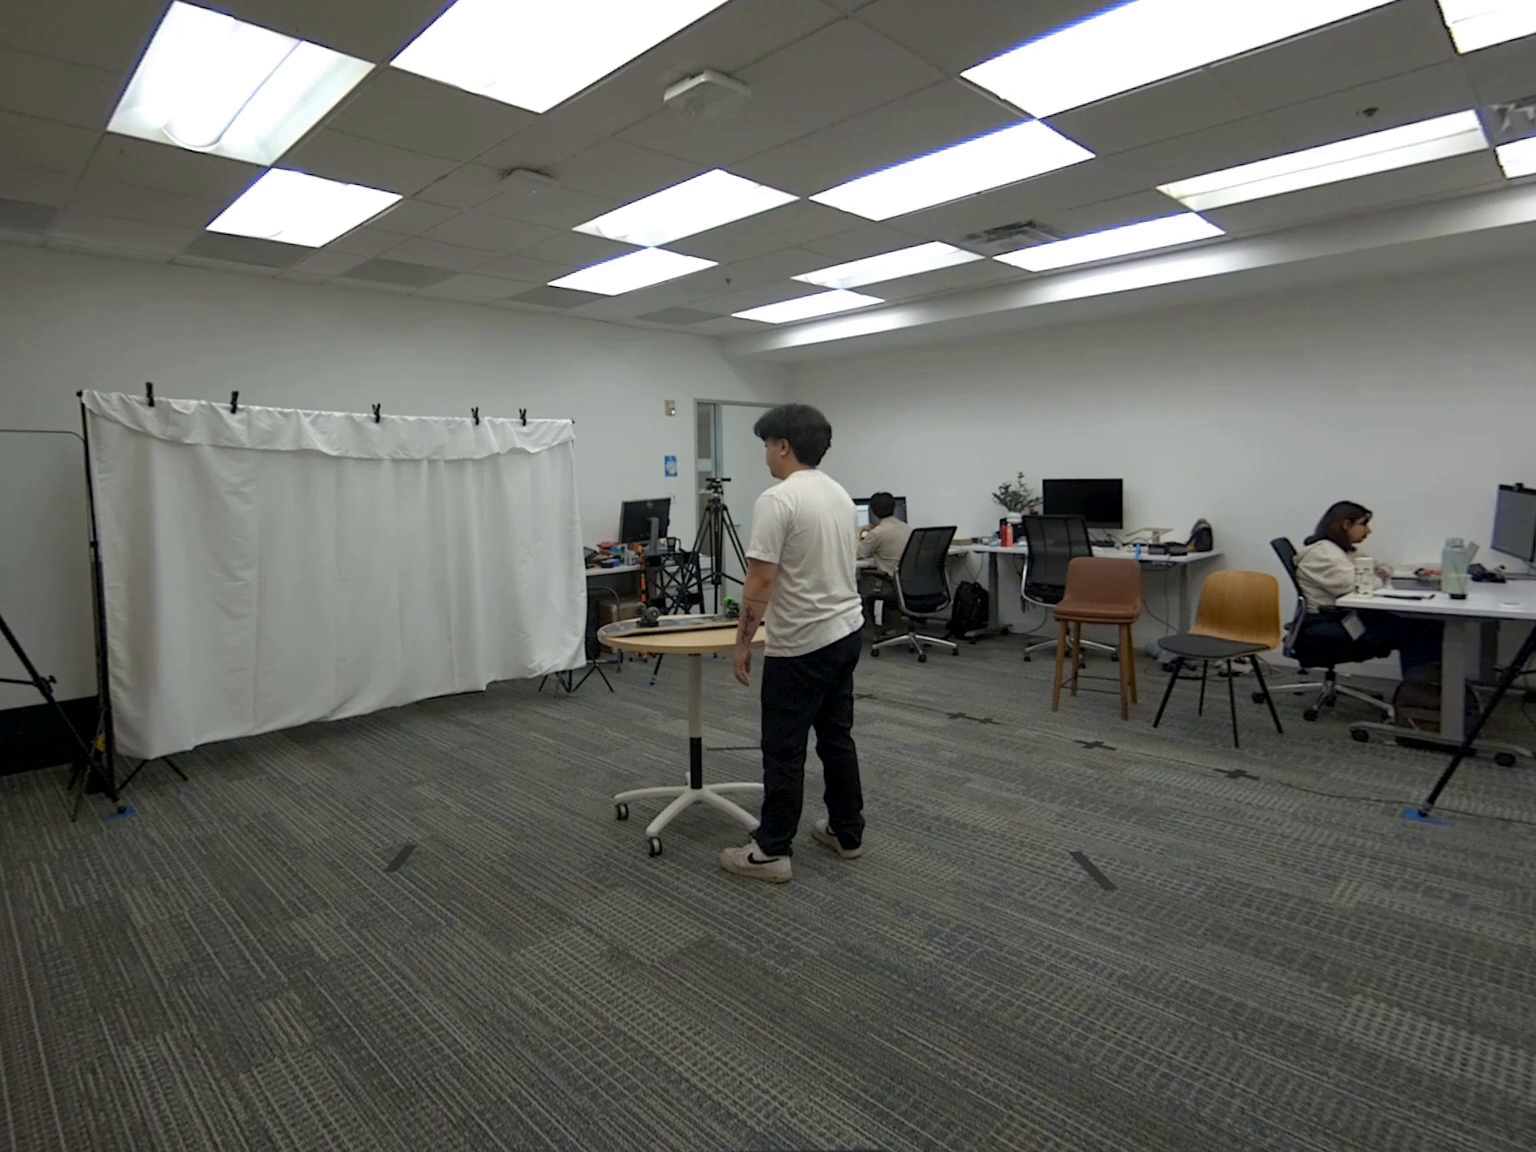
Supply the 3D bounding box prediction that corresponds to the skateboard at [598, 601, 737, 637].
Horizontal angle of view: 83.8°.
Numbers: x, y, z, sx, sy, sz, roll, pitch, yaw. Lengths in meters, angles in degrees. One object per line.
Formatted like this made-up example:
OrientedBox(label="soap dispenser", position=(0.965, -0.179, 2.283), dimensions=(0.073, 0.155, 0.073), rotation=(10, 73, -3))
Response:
OrientedBox(label="skateboard", position=(-0.298, 0.162, 3.469), dimensions=(0.769, 0.110, 0.198), rotation=(-4, 5, -25))
